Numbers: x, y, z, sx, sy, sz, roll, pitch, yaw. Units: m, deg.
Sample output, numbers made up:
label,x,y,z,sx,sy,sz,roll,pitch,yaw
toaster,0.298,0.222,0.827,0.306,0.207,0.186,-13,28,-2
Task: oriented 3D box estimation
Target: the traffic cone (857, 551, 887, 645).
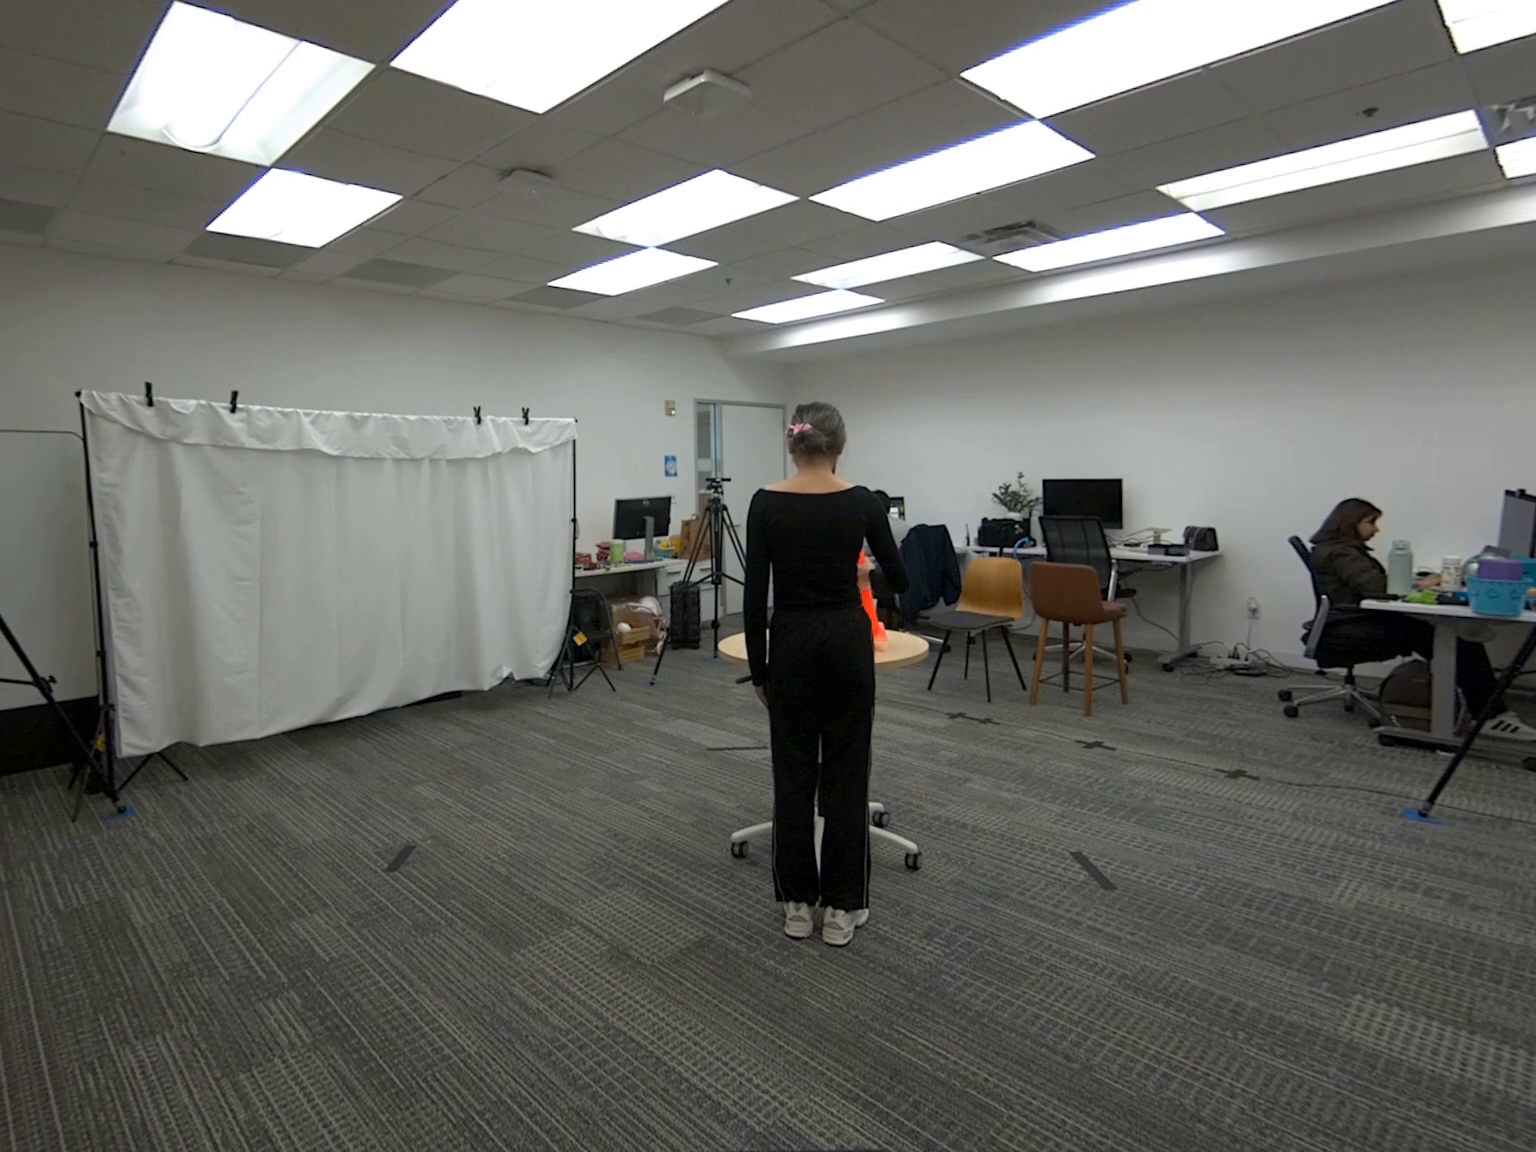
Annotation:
label,x,y,z,sx,sy,sz,roll,pitch,yaw
traffic cone,0.320,0.020,3.026,0.206,0.380,0.204,-1,10,5
